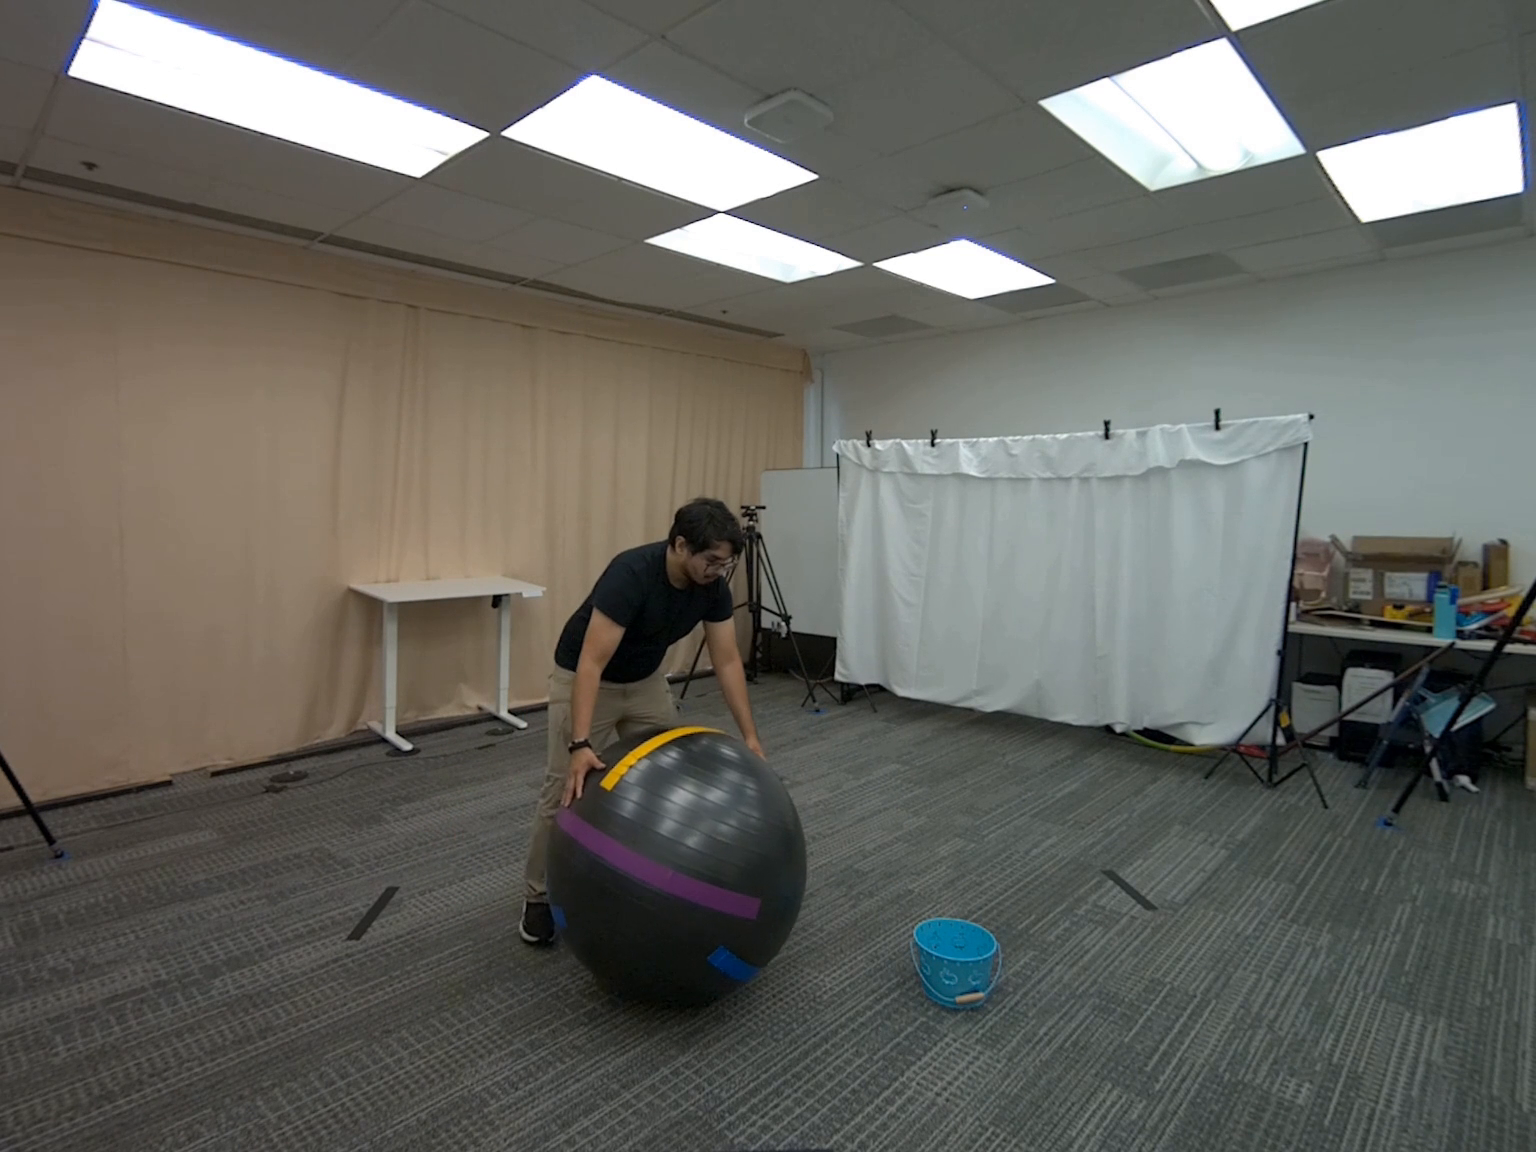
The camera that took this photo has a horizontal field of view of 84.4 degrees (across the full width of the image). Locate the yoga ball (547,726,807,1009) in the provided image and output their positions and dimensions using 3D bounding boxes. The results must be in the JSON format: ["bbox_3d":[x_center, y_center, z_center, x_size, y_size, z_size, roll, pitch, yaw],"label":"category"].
[{"bbox_3d":[-0.261,0.832,2.442,0.757,0.756,0.760,0,4,-2],"label":"yoga ball"}]
